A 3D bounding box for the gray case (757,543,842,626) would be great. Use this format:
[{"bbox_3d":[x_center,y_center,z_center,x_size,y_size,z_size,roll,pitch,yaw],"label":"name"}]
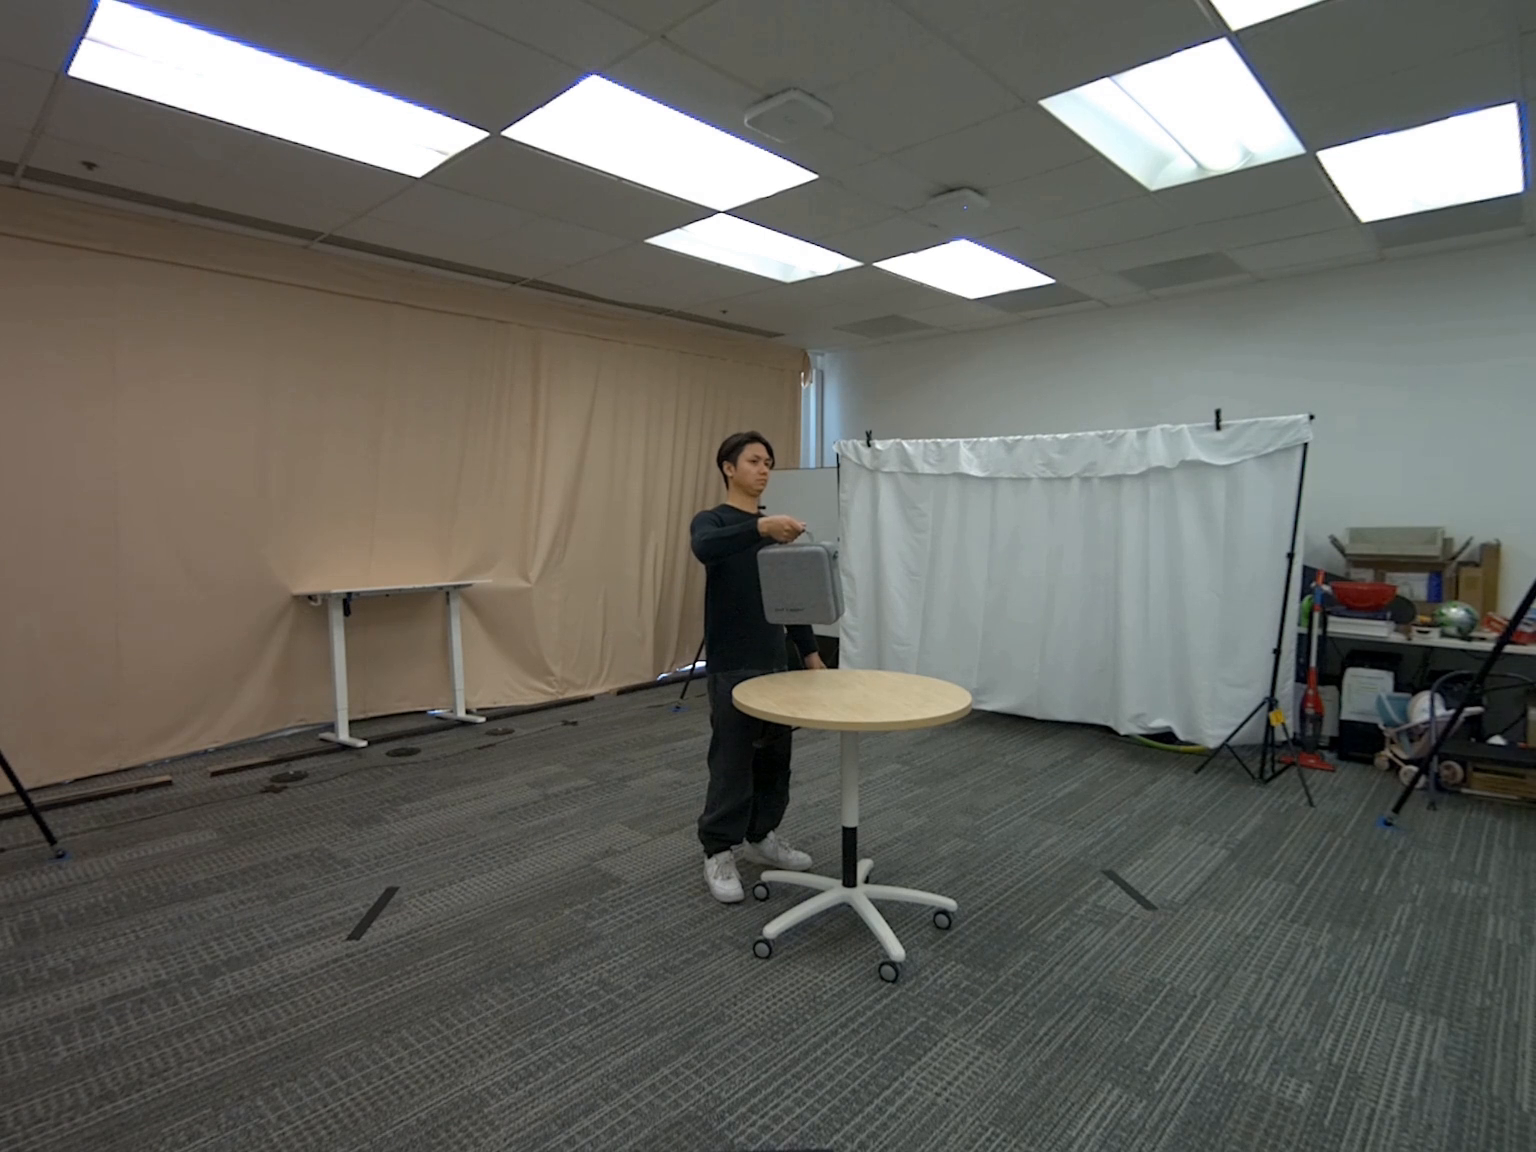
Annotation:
[{"bbox_3d":[0.107,0.021,2.663,0.264,0.259,0.102,-2,9,32],"label":"gray case"}]
